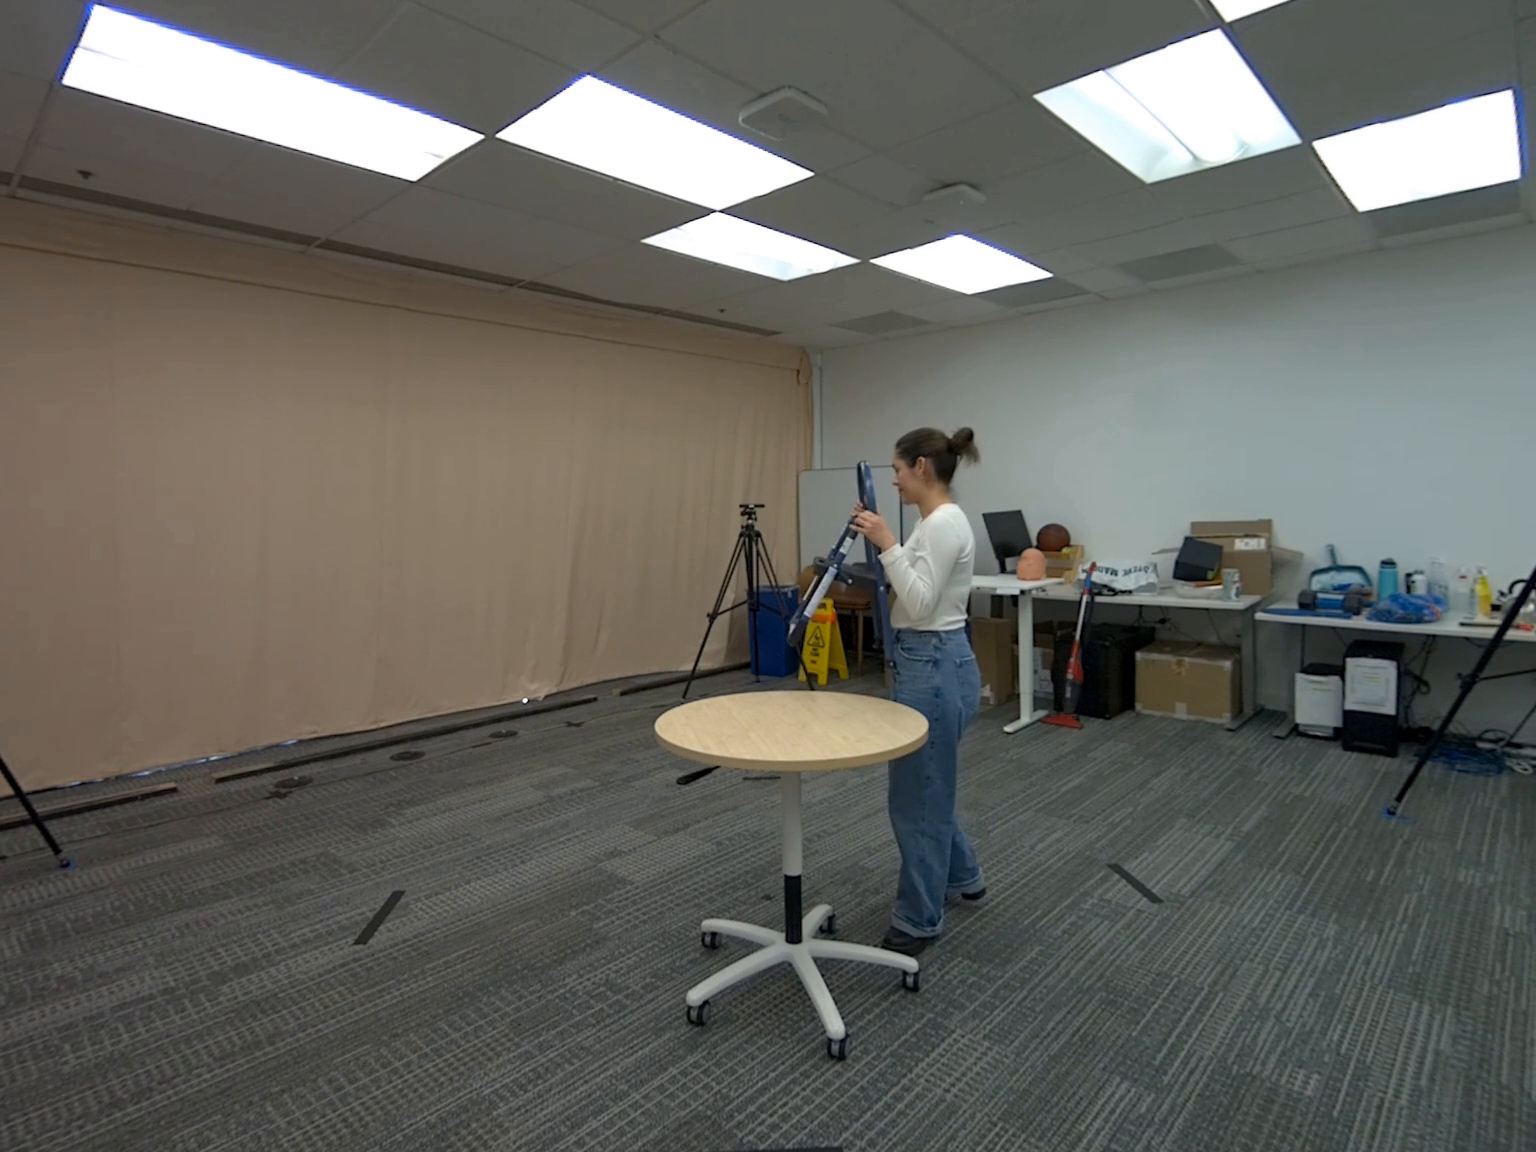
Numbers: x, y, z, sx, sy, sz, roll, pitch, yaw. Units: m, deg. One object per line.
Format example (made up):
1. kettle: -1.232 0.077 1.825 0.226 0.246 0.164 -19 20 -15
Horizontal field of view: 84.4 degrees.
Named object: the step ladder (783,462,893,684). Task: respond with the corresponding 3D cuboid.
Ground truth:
1. step ladder: 0.318 -0.054 2.739 0.351 0.605 0.429 14 4 2
